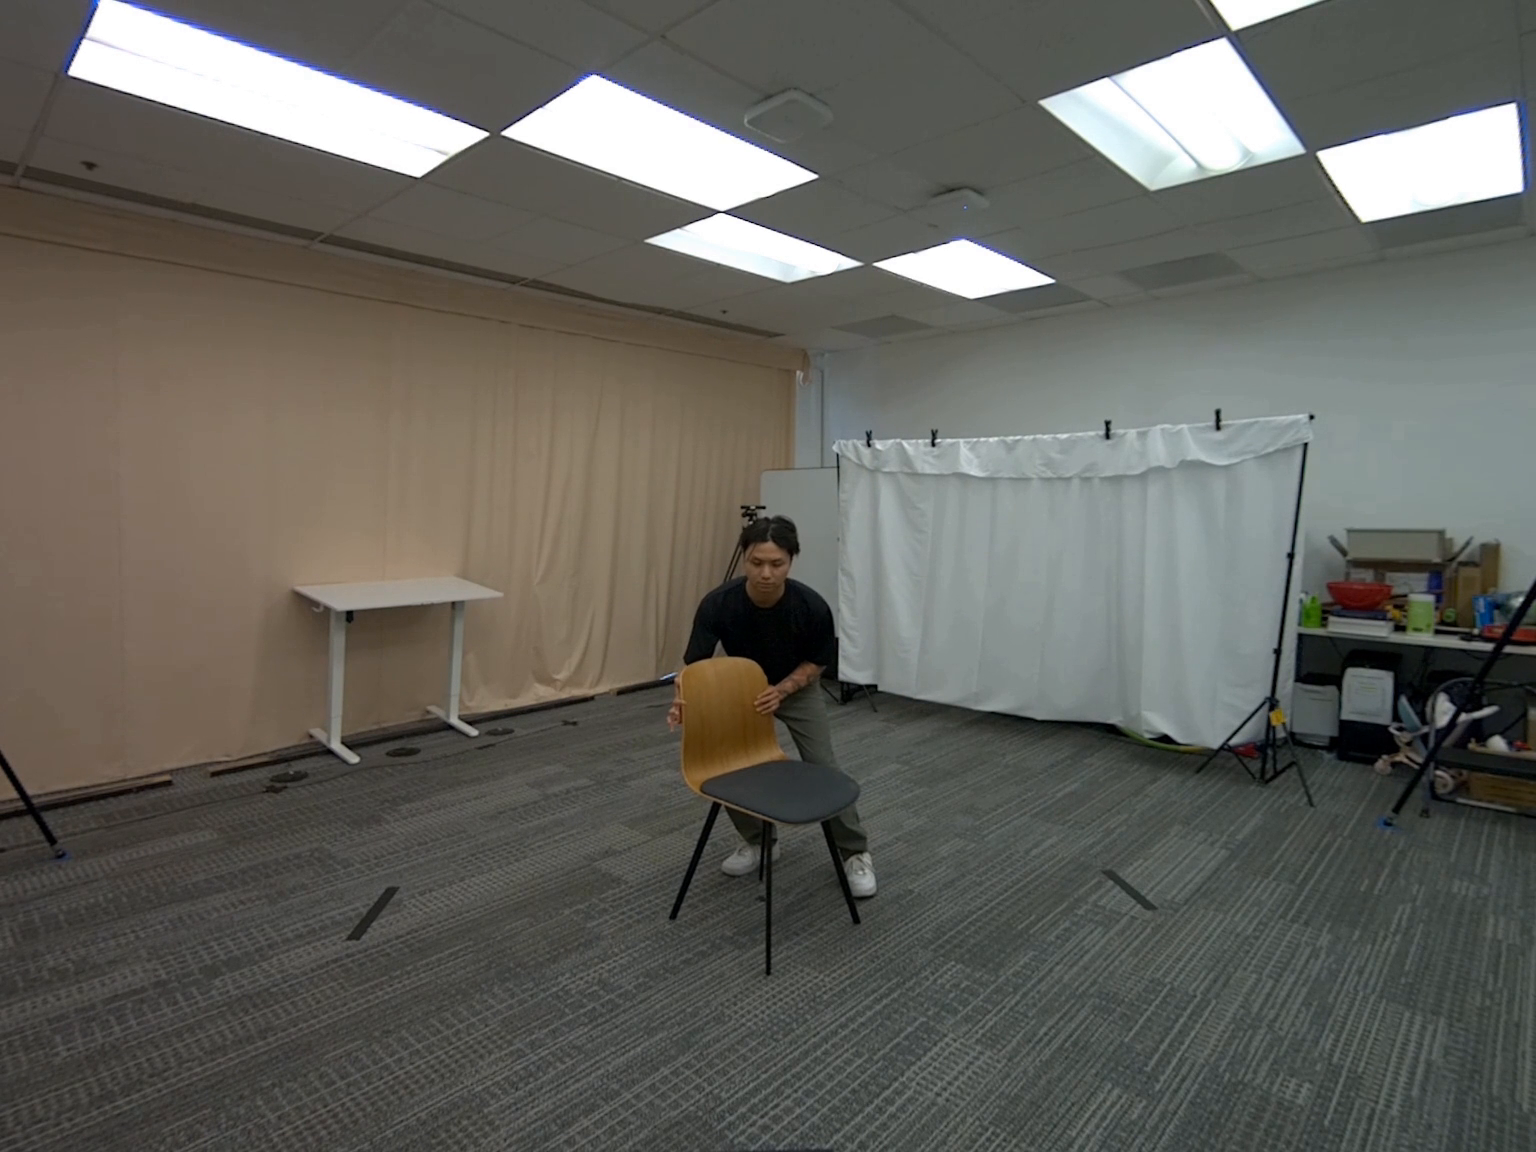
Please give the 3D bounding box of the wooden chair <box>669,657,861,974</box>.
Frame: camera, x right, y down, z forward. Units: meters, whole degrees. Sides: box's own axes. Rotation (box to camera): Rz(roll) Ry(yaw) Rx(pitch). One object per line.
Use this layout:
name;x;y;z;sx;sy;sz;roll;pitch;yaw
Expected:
wooden chair;0.004;0.727;2.765;0.540;0.877;0.463;-2;1;44
